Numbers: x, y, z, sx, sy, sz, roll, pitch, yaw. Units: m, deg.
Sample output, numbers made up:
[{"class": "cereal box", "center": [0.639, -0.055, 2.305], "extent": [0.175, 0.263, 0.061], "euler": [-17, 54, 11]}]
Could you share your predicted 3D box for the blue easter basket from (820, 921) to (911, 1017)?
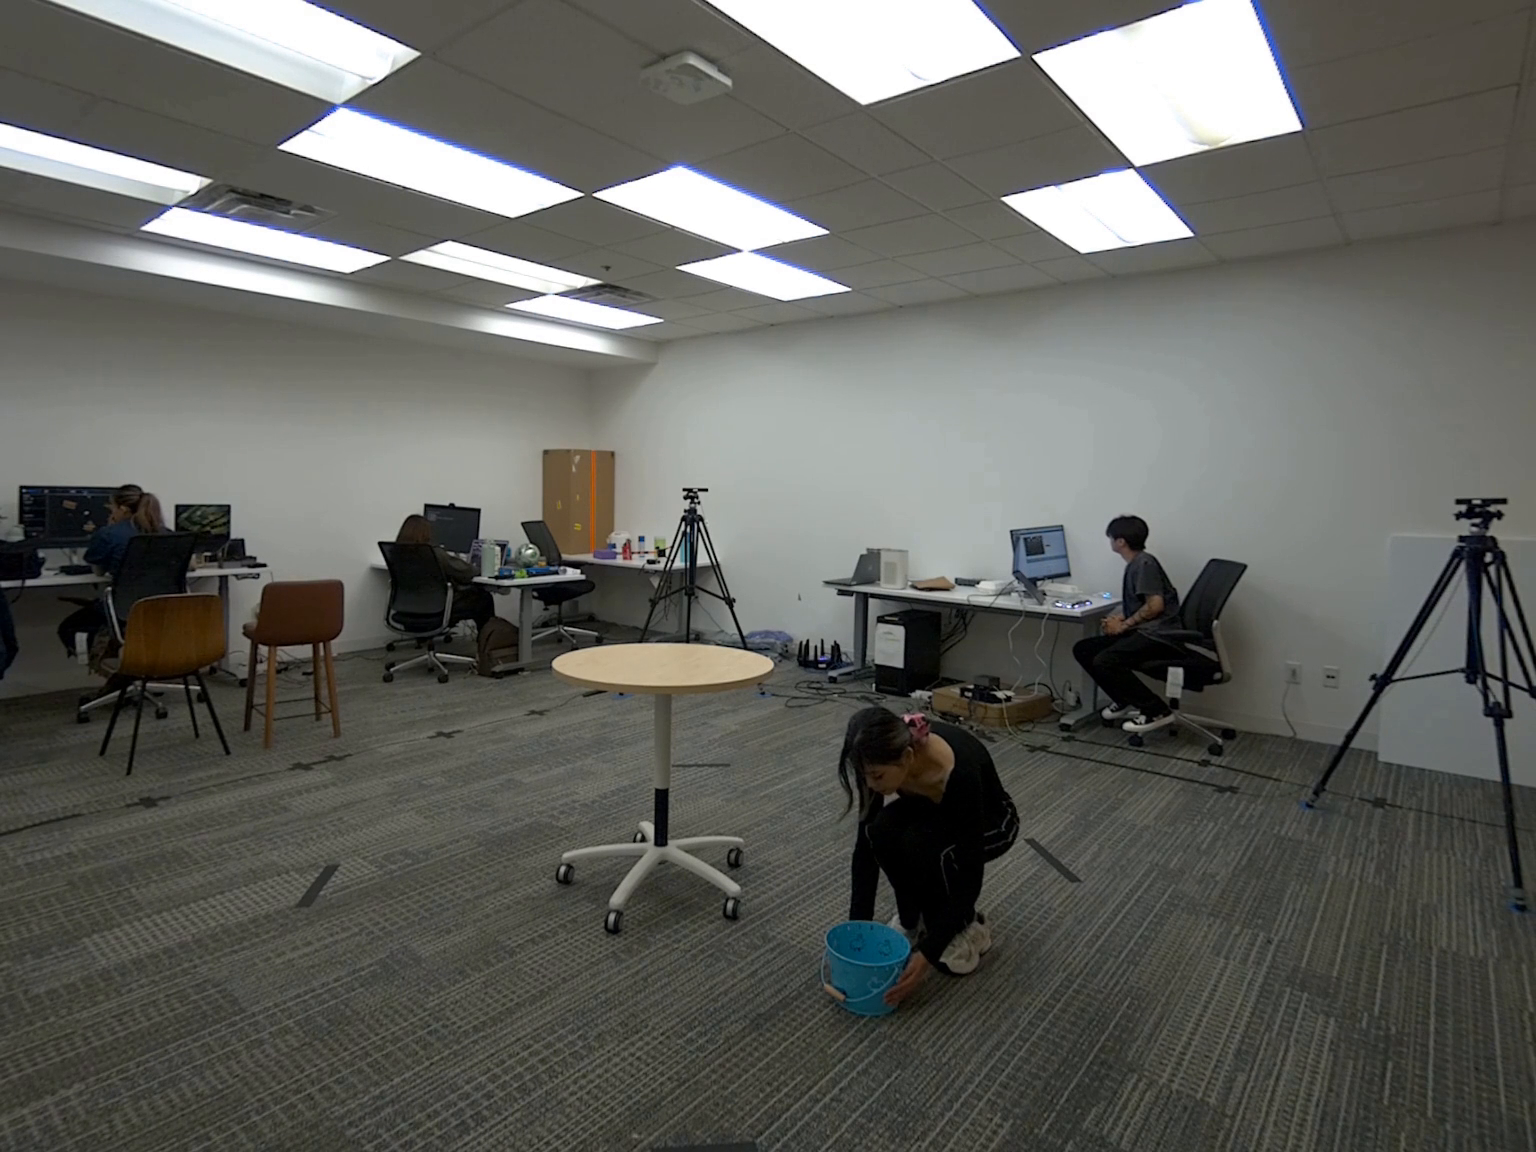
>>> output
[{"class": "blue easter basket", "center": [0.262, 1.078, 2.359], "extent": [0.243, 0.155, 0.245], "euler": [2, 5, -2]}]
